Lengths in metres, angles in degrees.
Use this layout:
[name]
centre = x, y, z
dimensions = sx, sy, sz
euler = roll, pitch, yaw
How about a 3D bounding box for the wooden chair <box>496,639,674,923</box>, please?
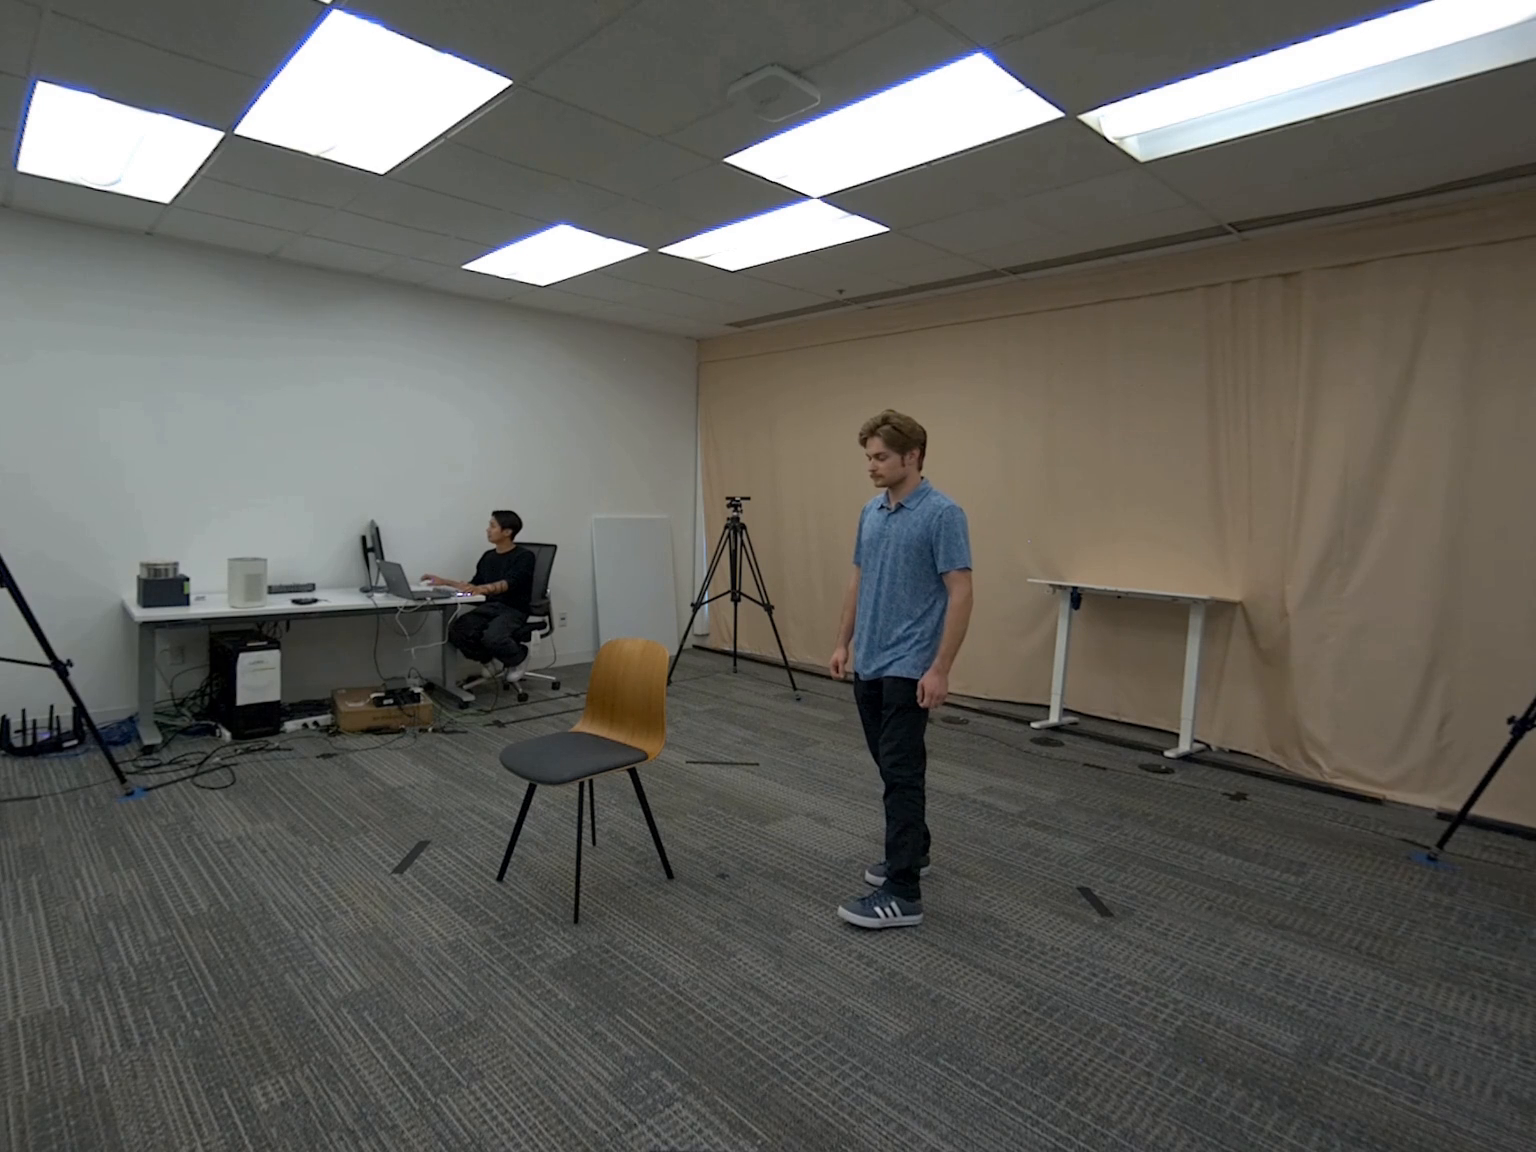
[wooden chair]
centre = -0.654, 0.674, 3.006
dimensions = 0.490, 0.877, 0.510
euler = 4, 0, 39
